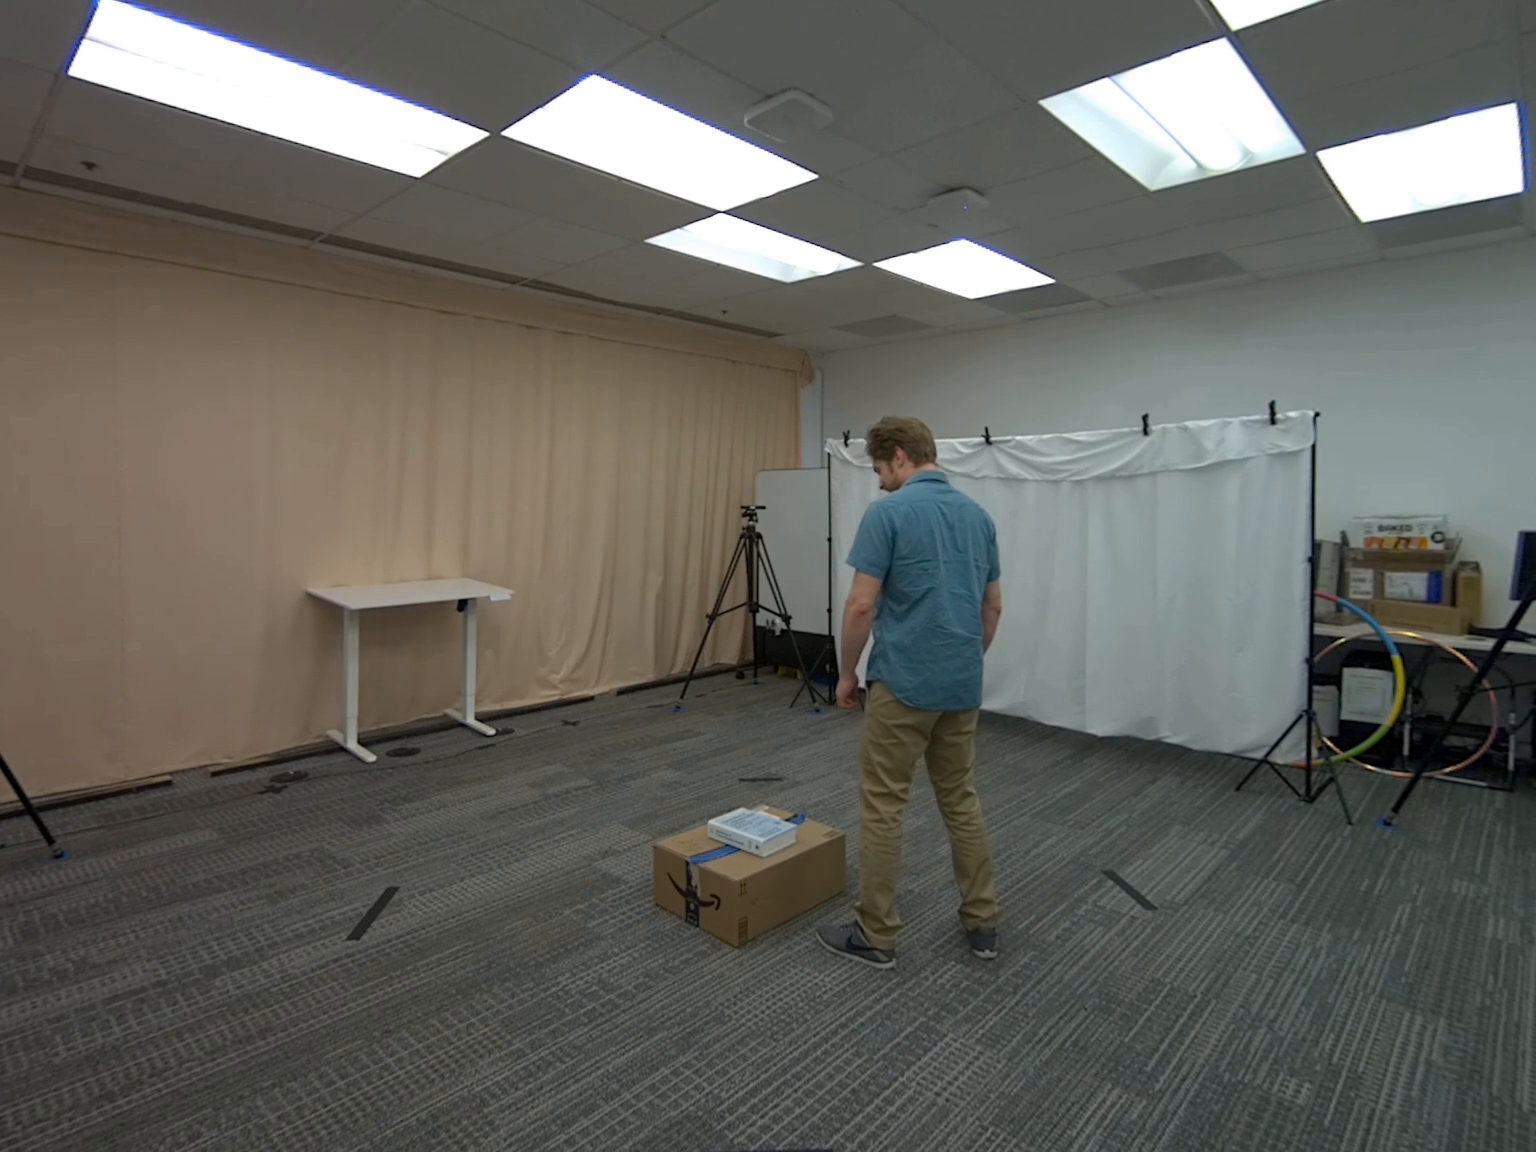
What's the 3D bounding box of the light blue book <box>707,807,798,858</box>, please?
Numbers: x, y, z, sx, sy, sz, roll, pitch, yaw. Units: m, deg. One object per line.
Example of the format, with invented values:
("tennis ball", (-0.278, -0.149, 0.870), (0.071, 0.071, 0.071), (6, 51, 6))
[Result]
("light blue book", (-0.054, 0.901, 2.984), (0.270, 0.059, 0.185), (4, 6, 42))
